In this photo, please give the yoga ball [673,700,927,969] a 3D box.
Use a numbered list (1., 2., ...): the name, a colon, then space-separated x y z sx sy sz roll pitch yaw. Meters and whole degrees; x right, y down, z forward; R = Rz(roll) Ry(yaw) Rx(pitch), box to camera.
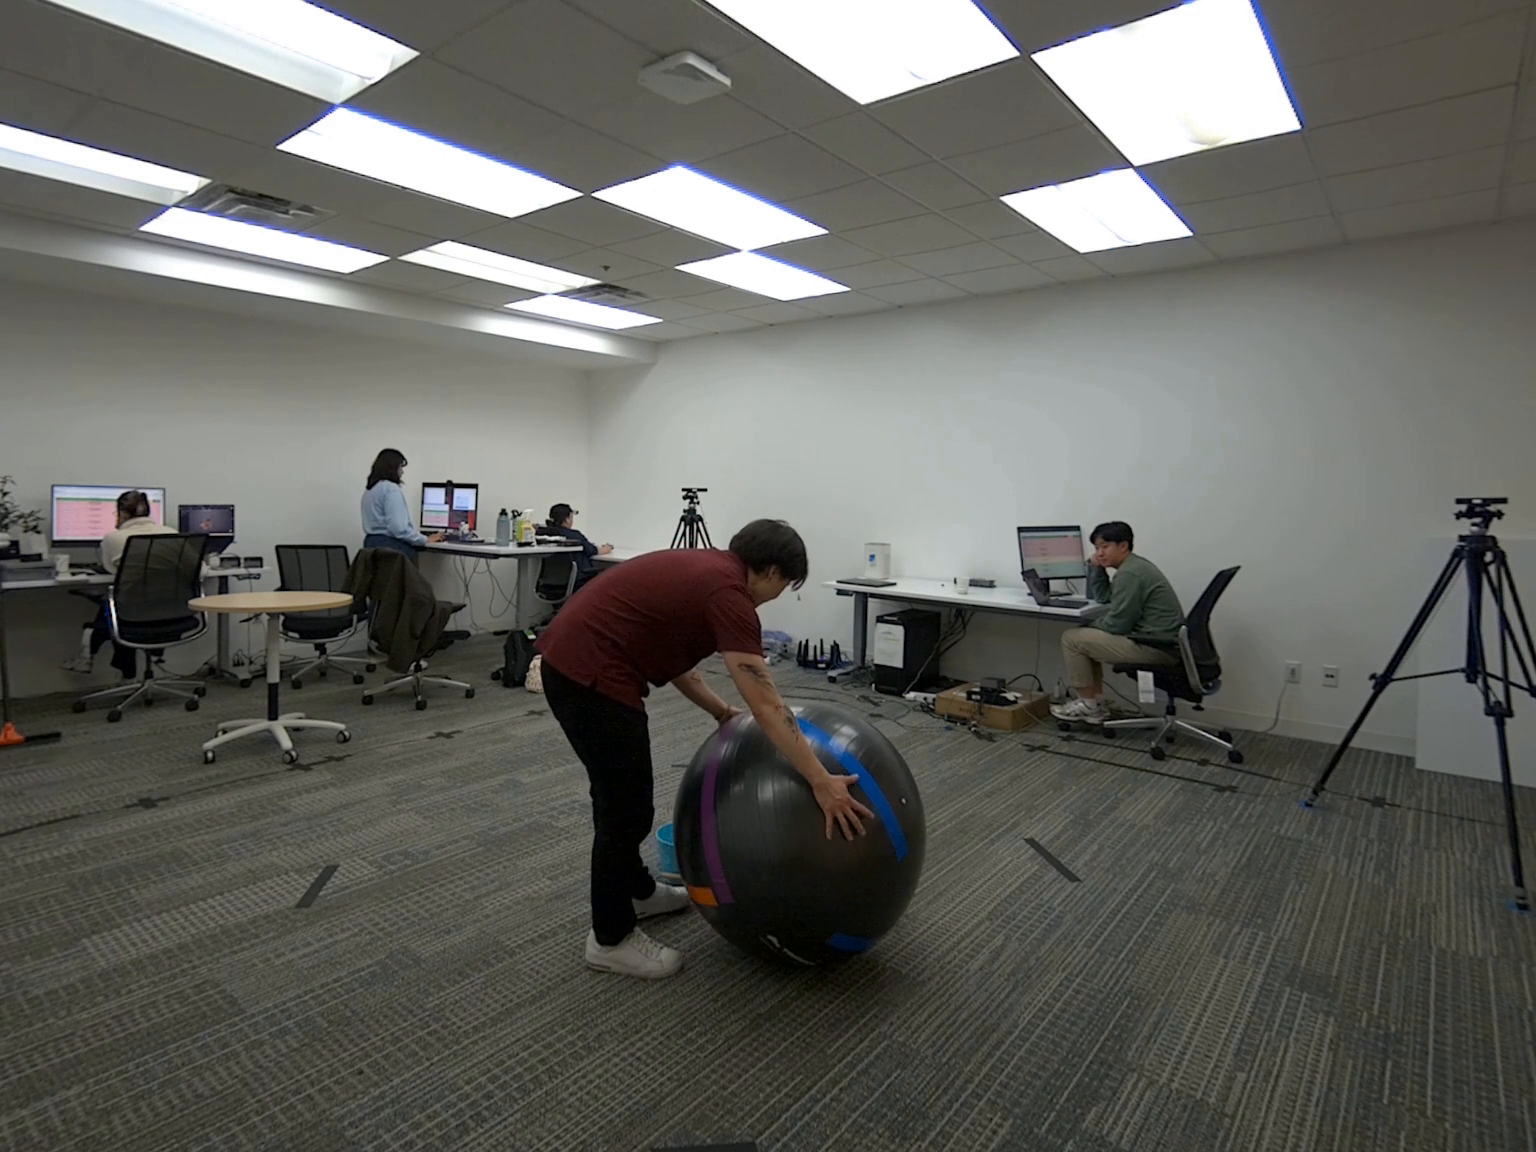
1. yoga ball: 0.090 0.757 2.567 0.757 0.755 0.762 1 4 -2
